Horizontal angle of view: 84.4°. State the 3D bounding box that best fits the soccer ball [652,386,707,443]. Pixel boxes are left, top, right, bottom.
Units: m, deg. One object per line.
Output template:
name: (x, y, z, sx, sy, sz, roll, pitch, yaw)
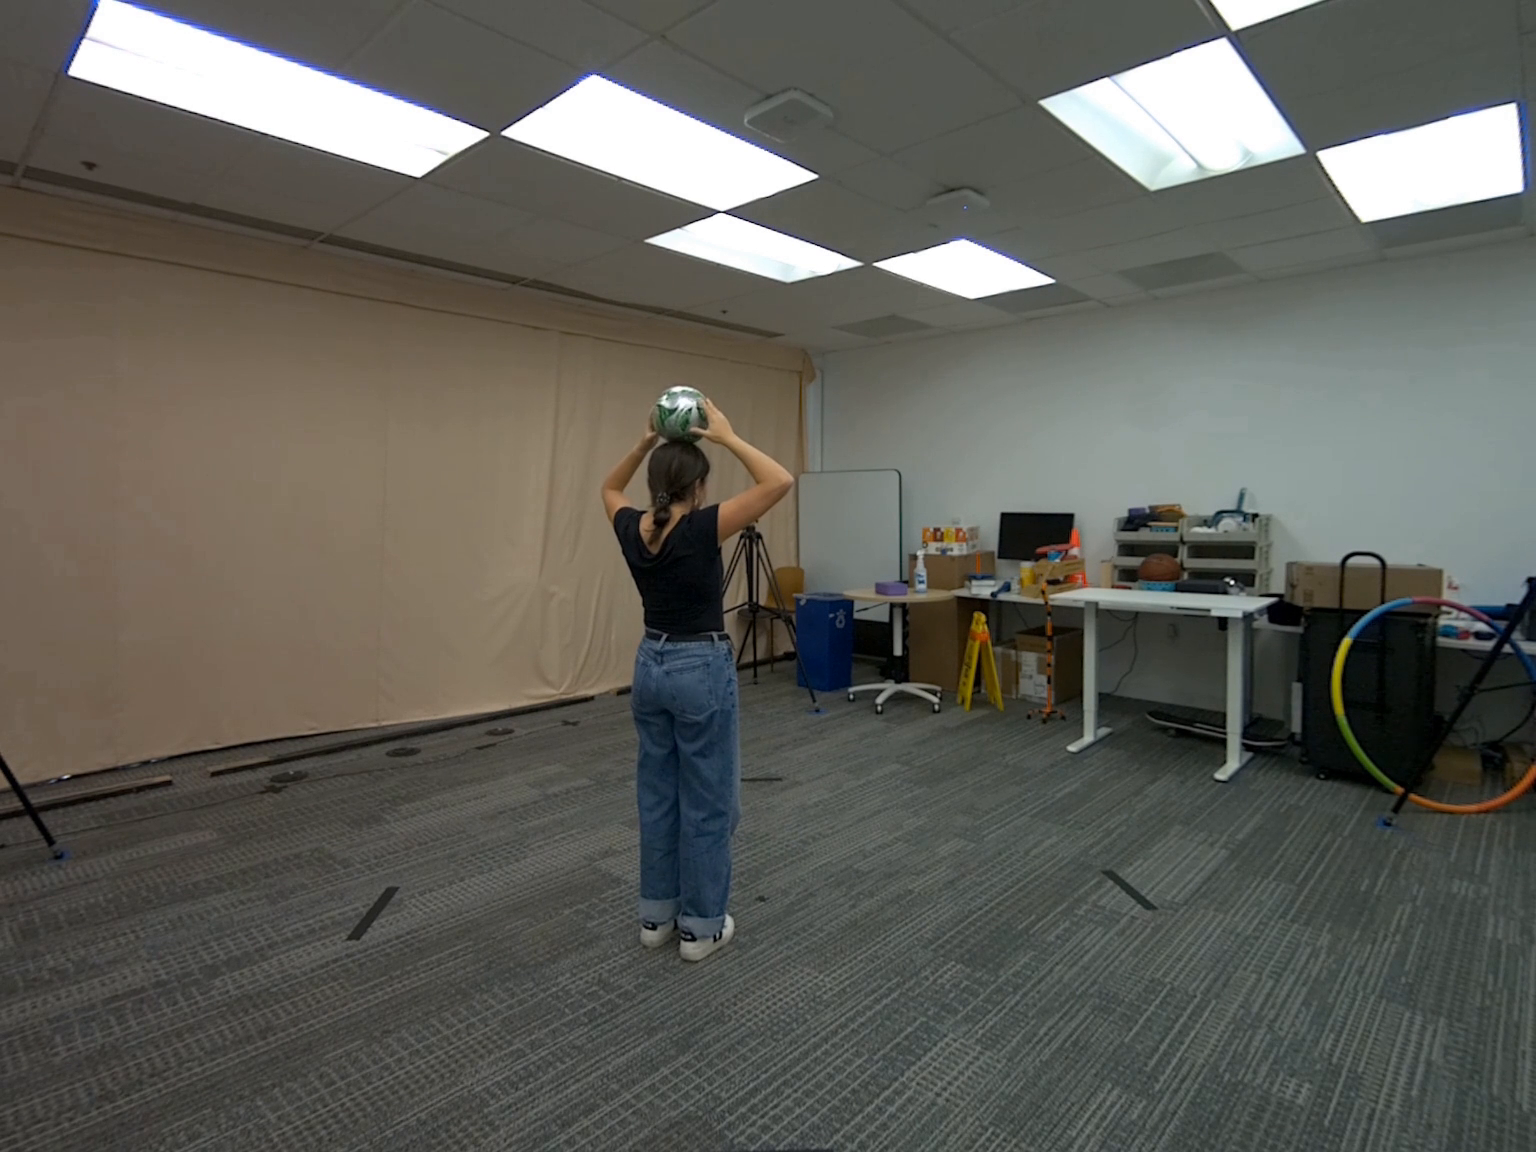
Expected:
soccer ball: (-0.265, -0.505, 2.662, 0.187, 0.187, 0.188, 0, 4, -2)
